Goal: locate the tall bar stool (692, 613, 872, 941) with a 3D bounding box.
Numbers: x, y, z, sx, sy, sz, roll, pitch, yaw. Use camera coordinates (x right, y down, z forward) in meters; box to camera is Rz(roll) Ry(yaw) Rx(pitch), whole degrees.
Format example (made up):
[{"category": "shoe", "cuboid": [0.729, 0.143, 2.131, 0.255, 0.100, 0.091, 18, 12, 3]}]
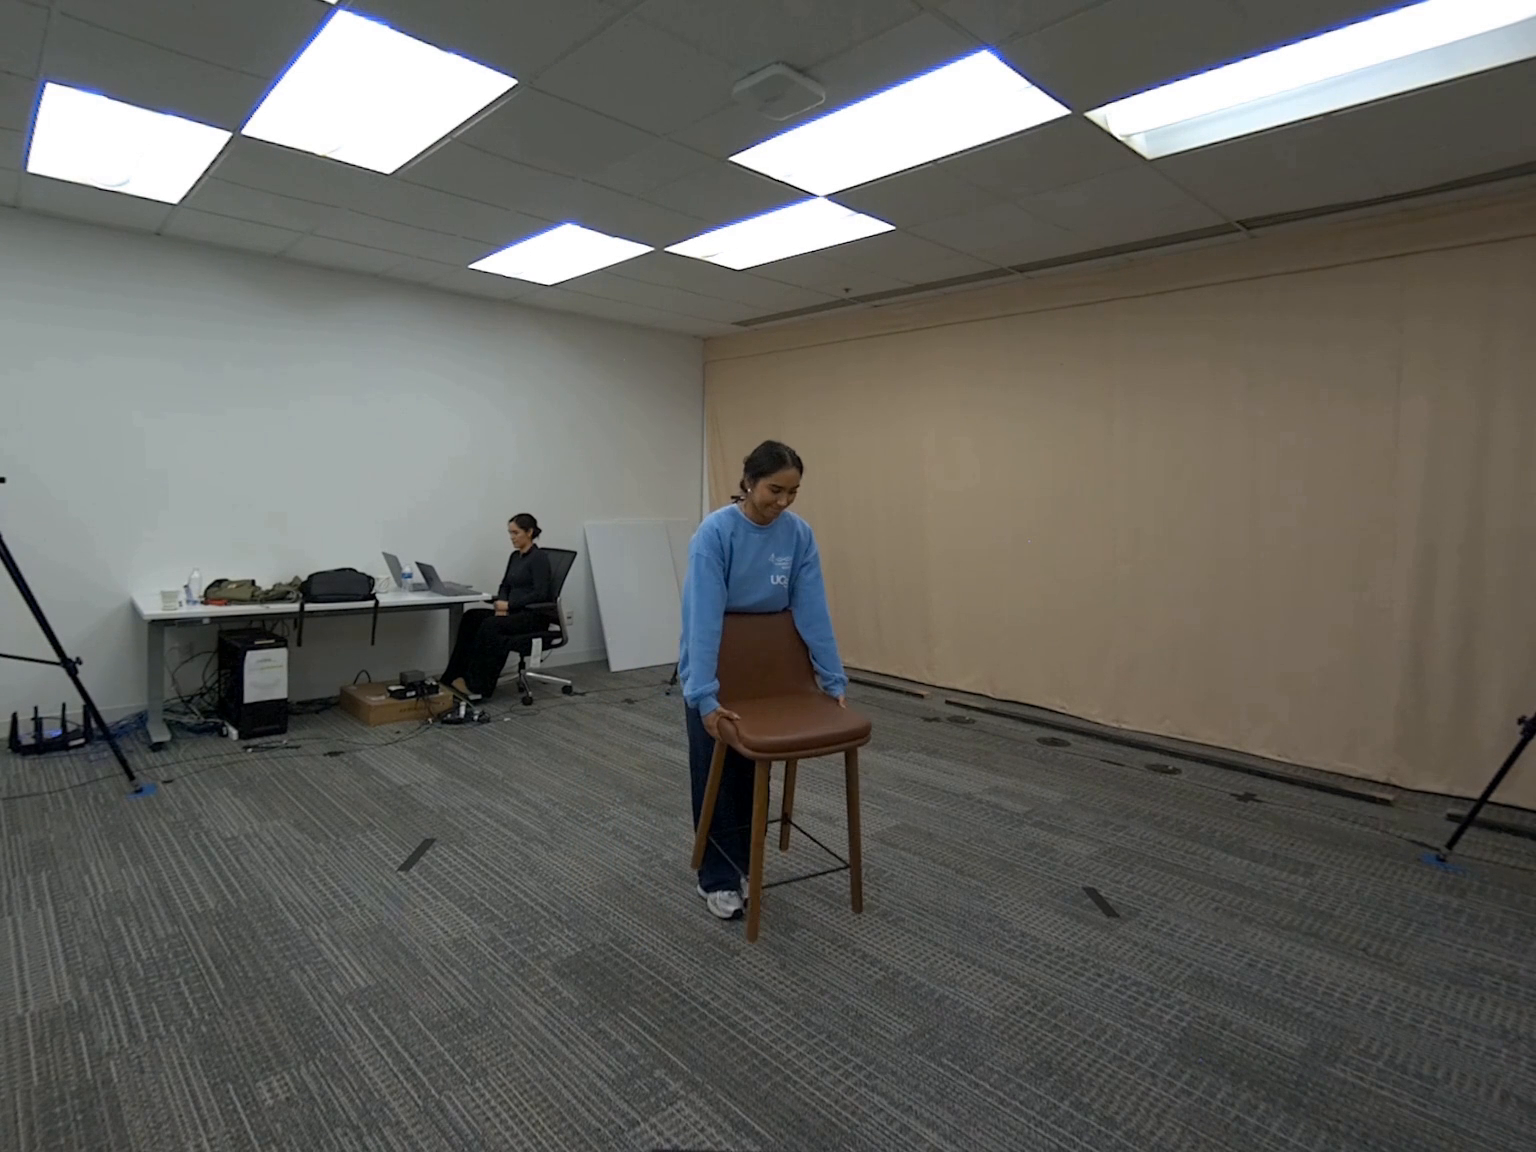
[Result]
[{"category": "tall bar stool", "cuboid": [0.033, 0.599, 2.674, 0.448, 0.886, 0.479, -1, 7, -29]}]
